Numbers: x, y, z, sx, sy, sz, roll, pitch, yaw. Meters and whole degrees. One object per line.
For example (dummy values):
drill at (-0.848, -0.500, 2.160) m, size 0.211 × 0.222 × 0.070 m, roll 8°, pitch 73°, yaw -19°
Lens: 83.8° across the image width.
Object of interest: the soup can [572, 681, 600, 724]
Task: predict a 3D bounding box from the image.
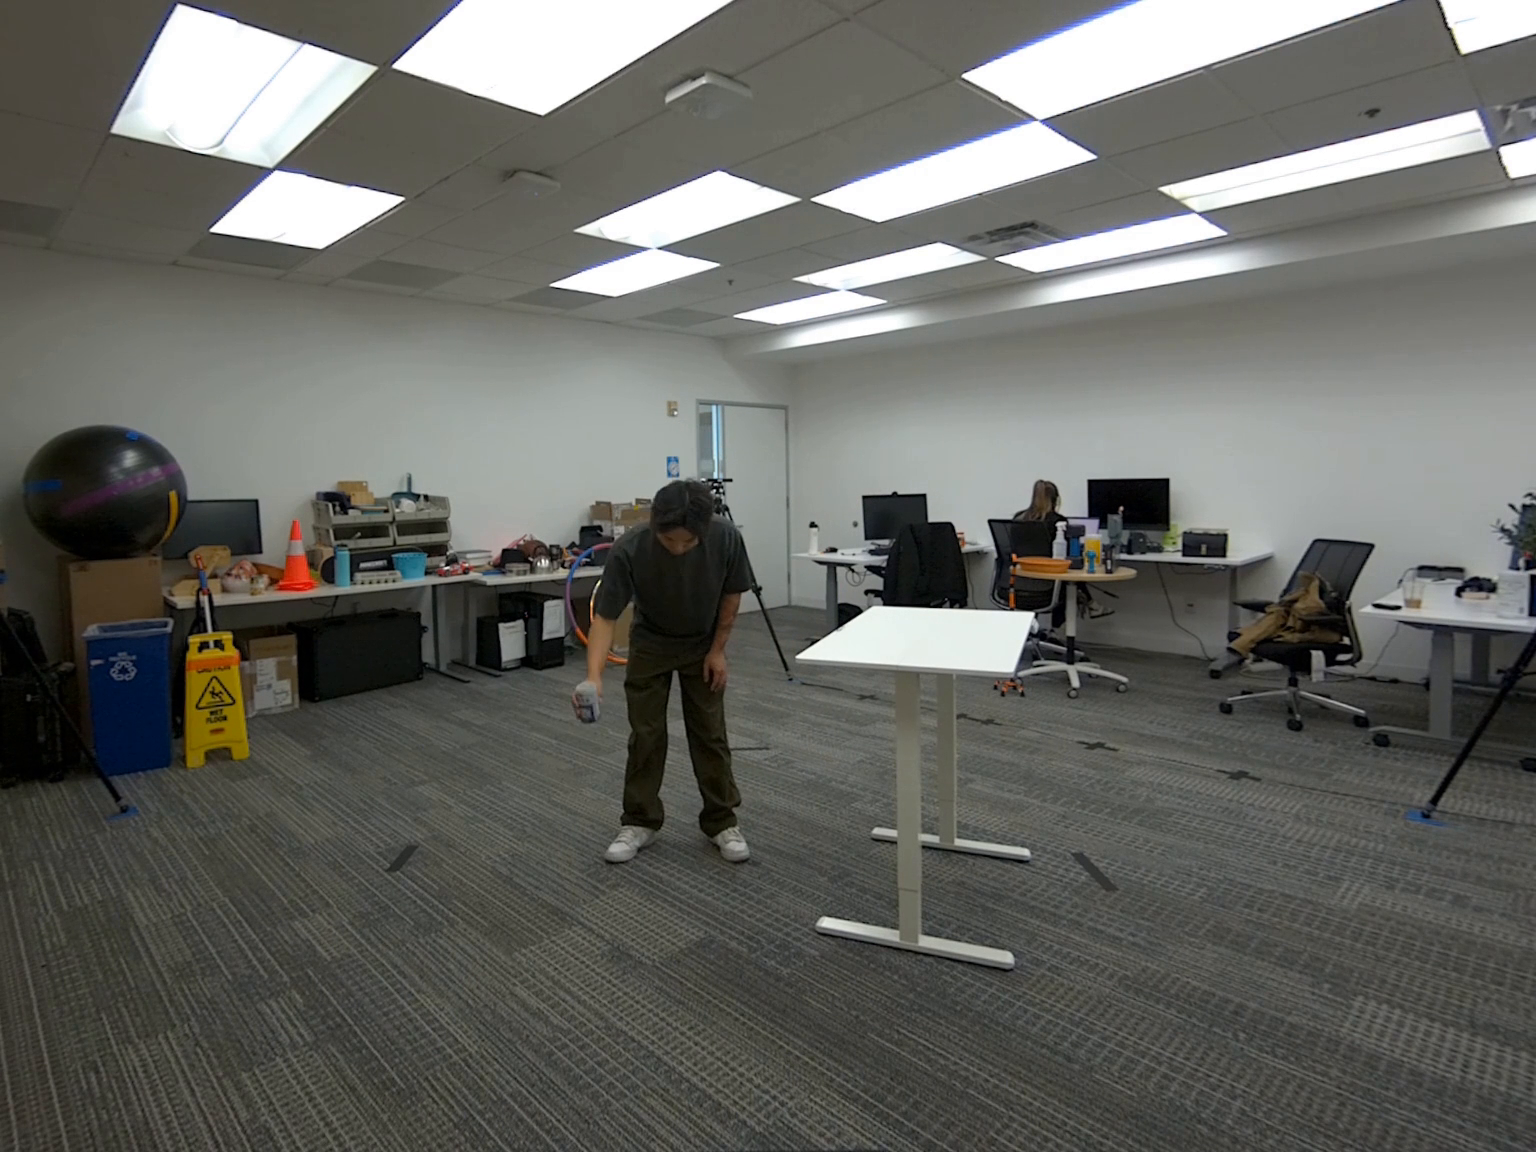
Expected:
soup can at (-0.585, 0.397, 2.767) m, size 0.067 × 0.121 × 0.067 m, roll -7°, pitch 7°, yaw -1°
